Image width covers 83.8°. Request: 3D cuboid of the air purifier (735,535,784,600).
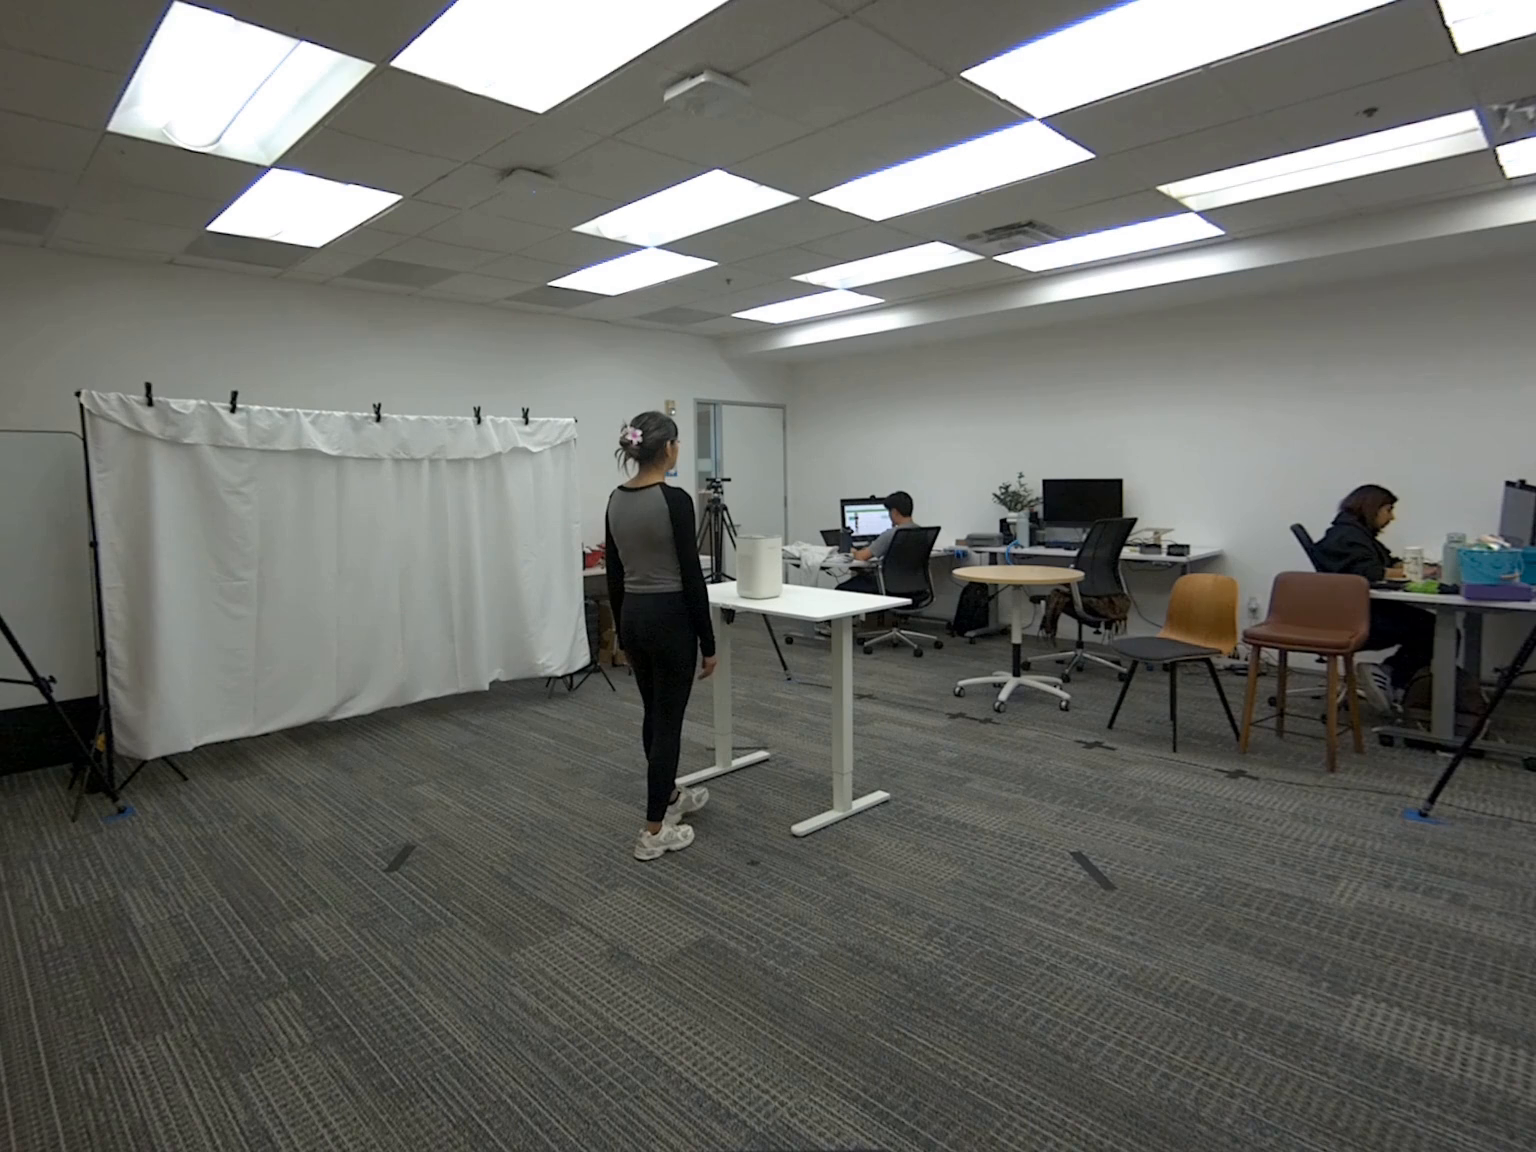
[{"bbox_3d":[-0.036,-0.042,3.715,0.166,0.264,0.177,-5,7,-42],"label":"air purifier"}]
